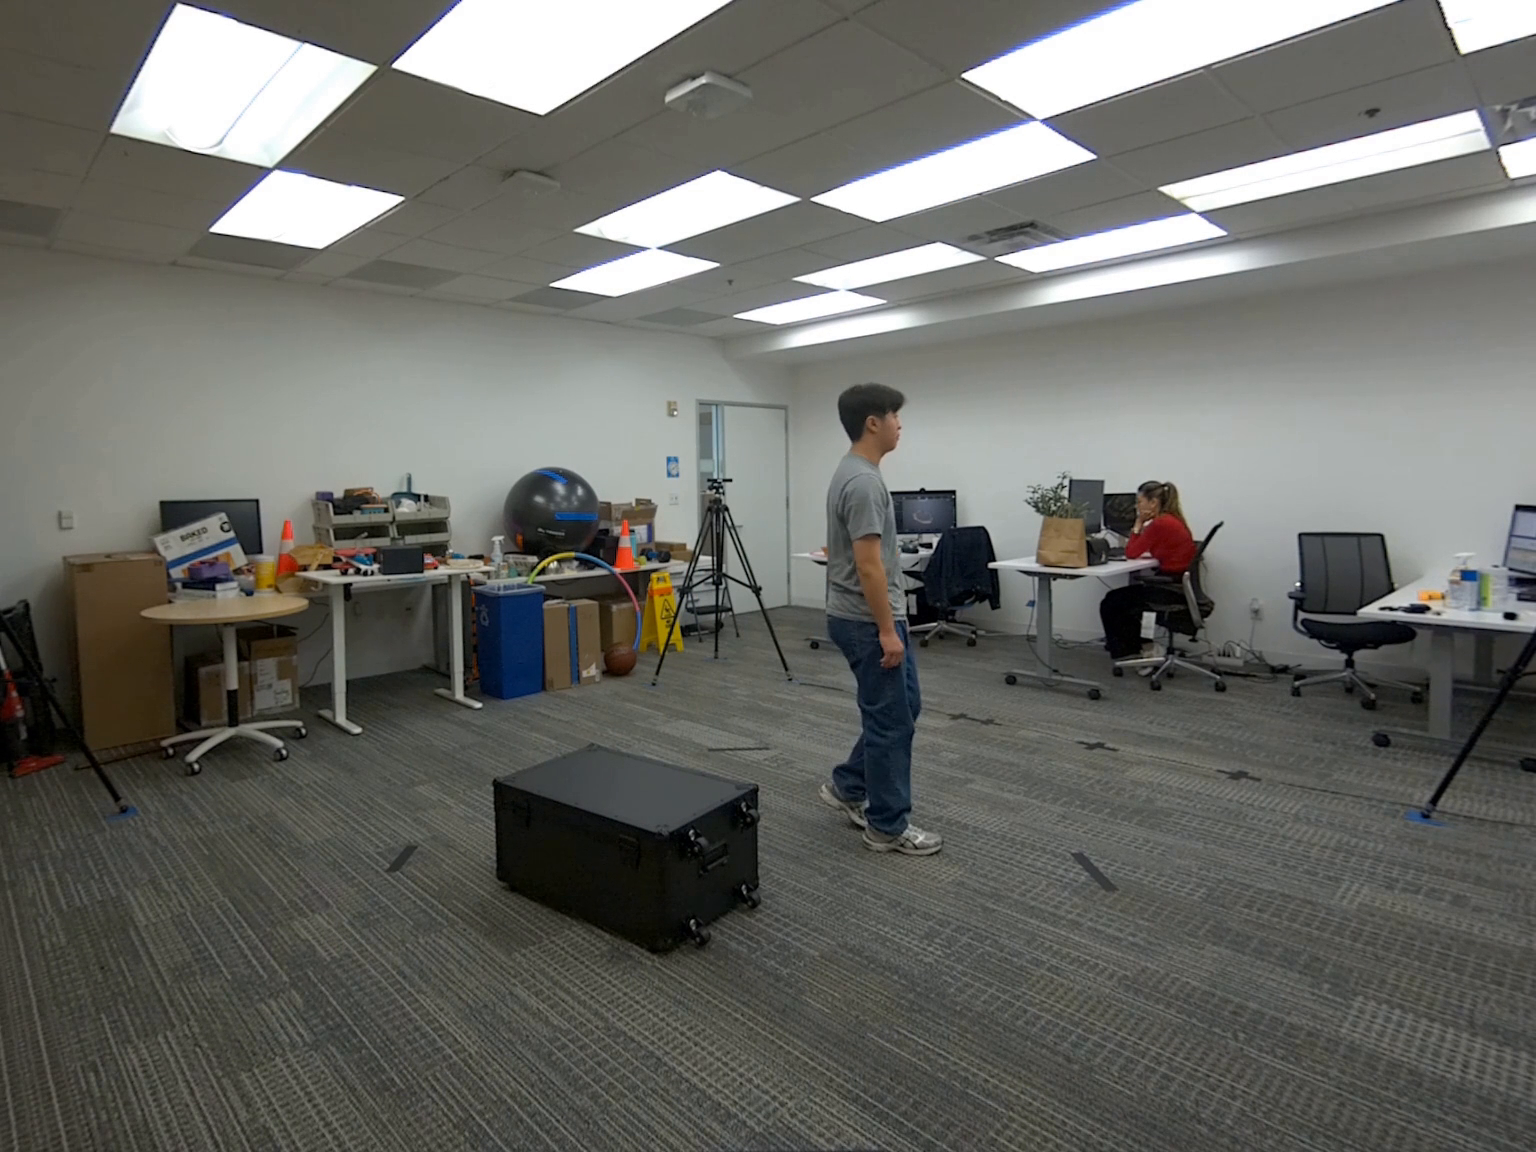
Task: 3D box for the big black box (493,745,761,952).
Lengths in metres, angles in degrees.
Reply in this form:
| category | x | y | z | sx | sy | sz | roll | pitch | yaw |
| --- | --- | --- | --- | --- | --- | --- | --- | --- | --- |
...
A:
| category | x | y | z | sx | sy | sz | roll | pitch | yaw |
| --- | --- | --- | --- | --- | --- | --- | --- | --- | --- |
| big black box | -0.458 | 0.888 | 2.886 | 0.886 | 0.395 | 0.508 | 3 | 7 | 36 |
